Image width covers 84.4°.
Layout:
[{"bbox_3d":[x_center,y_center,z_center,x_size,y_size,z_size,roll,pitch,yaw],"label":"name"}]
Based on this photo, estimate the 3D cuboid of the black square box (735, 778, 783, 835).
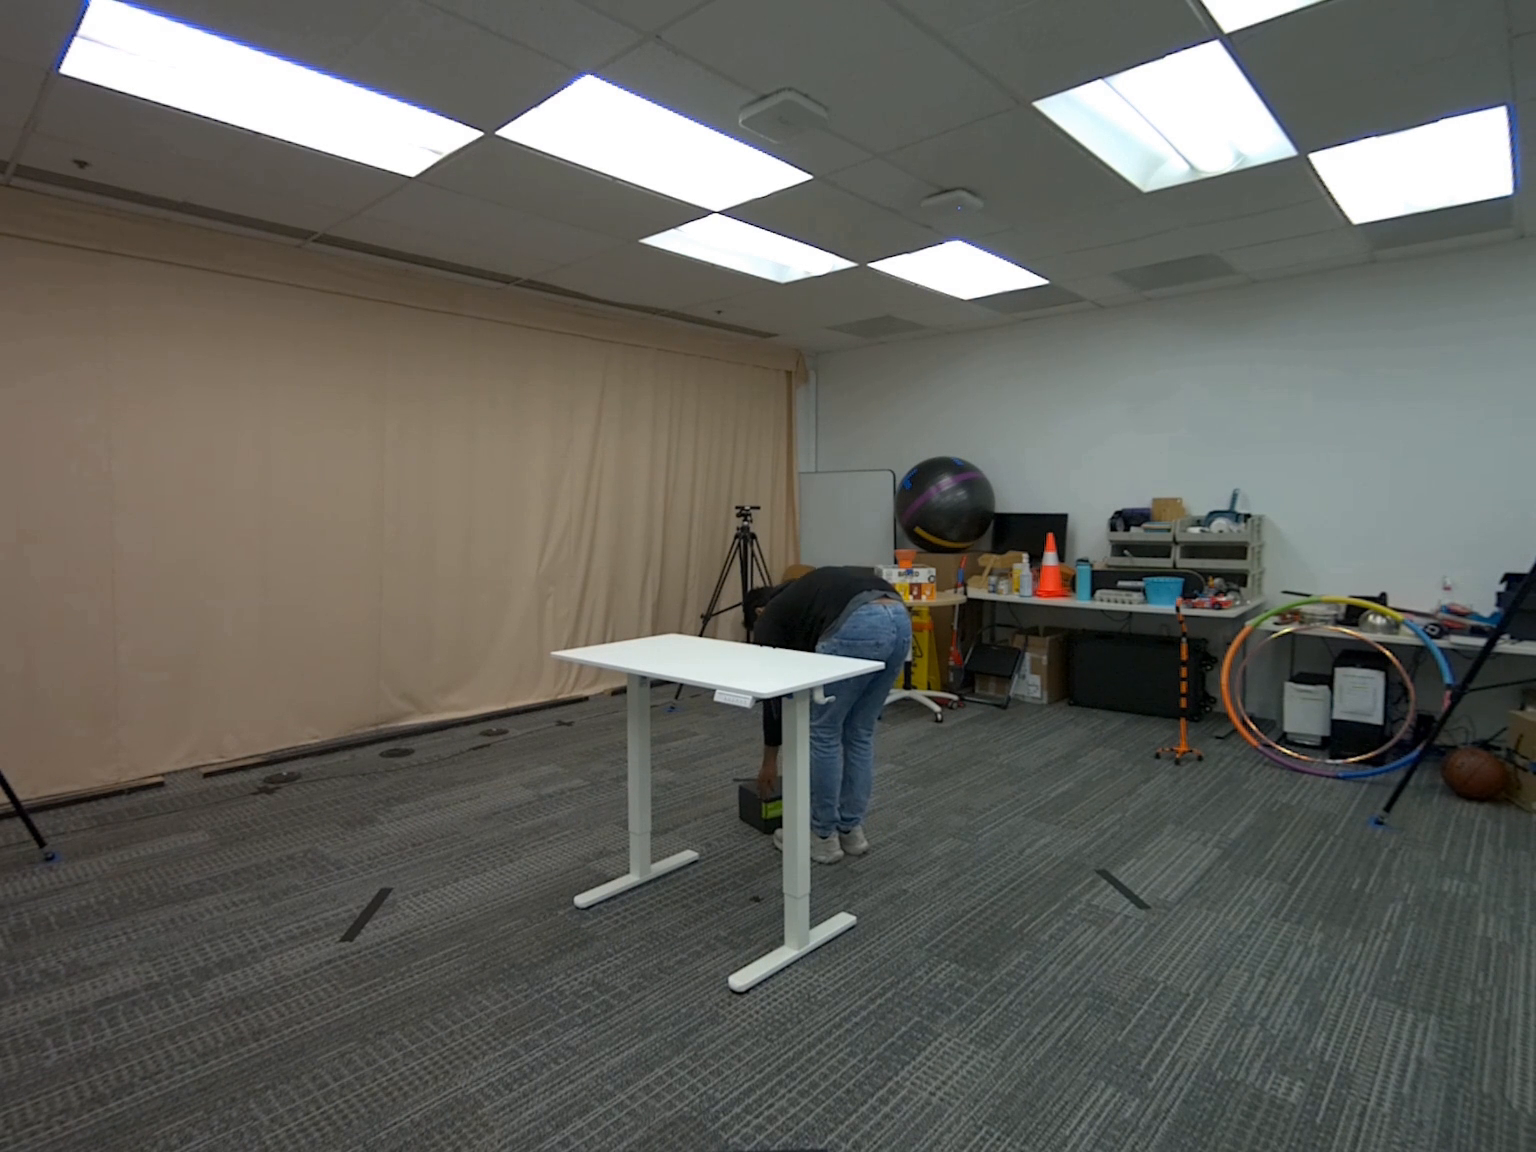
[{"bbox_3d":[0.024,0.993,3.702,0.221,0.155,0.223,-3,4,-33],"label":"black square box"}]
